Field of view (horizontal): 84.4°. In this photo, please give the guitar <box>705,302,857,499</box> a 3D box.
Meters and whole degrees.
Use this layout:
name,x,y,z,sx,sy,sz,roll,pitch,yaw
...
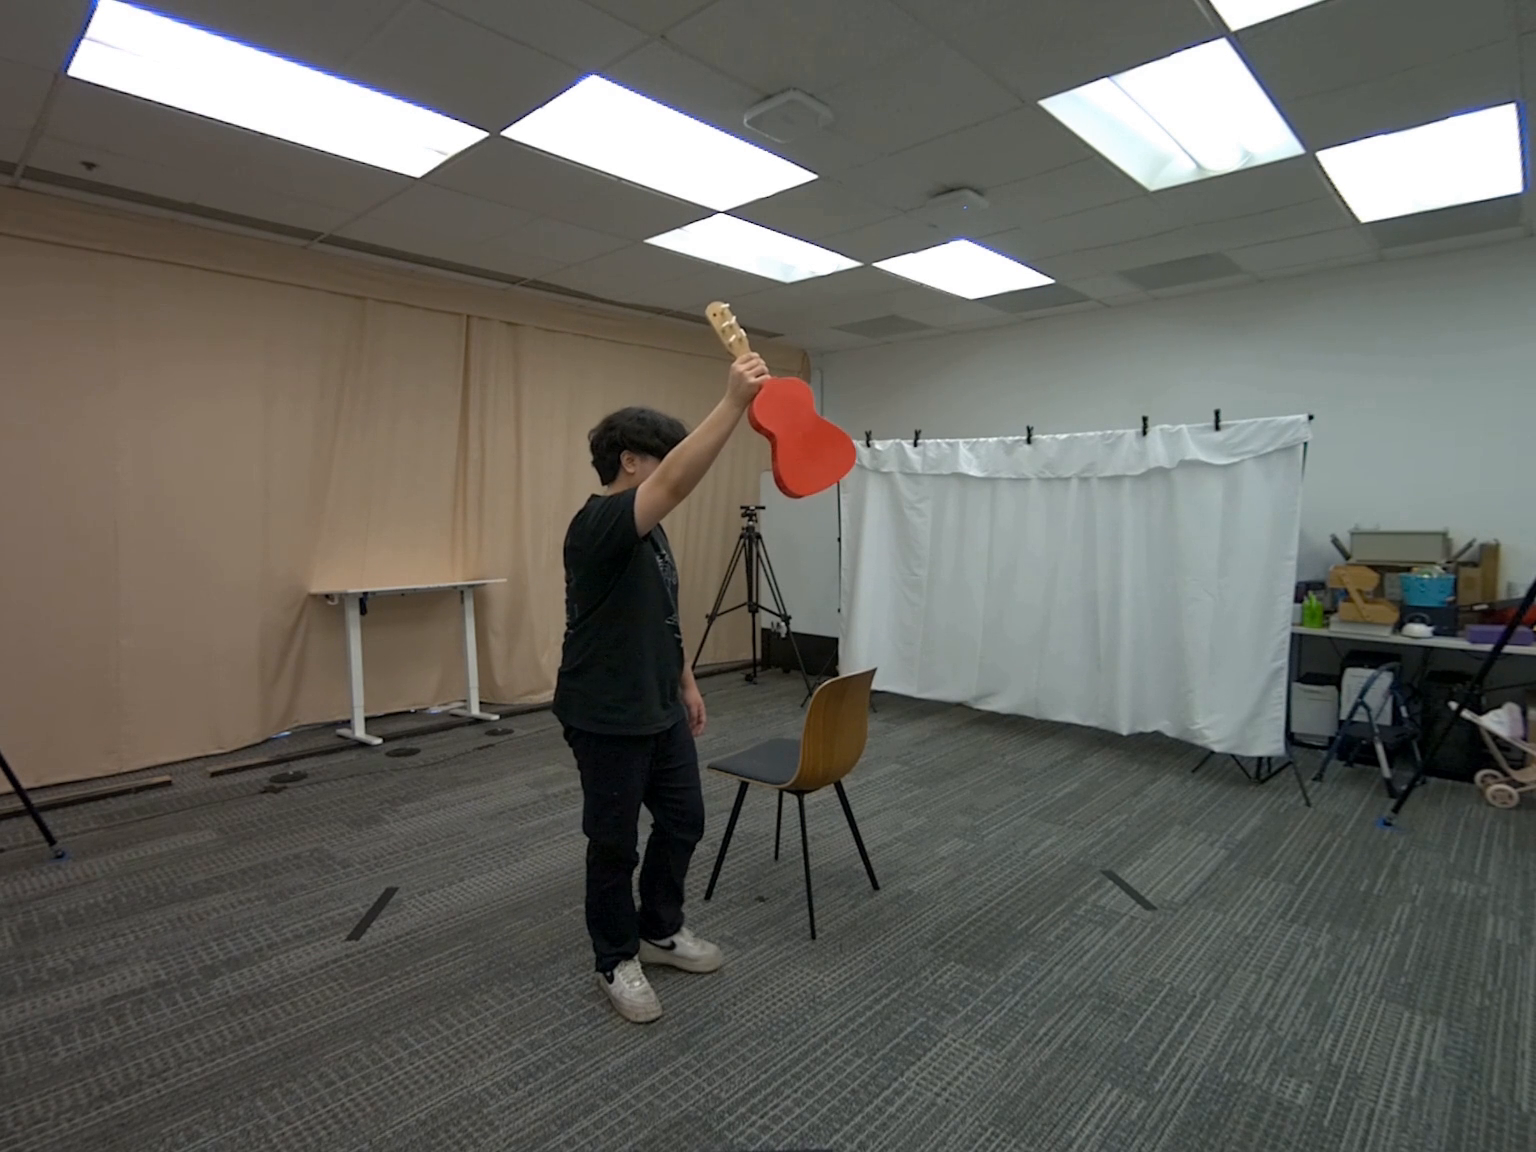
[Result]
name,x,y,z,sx,sy,sz,roll,pitch,yaw
guitar,-0.011,-0.398,1.921,0.192,0.496,0.071,-39,3,-14
